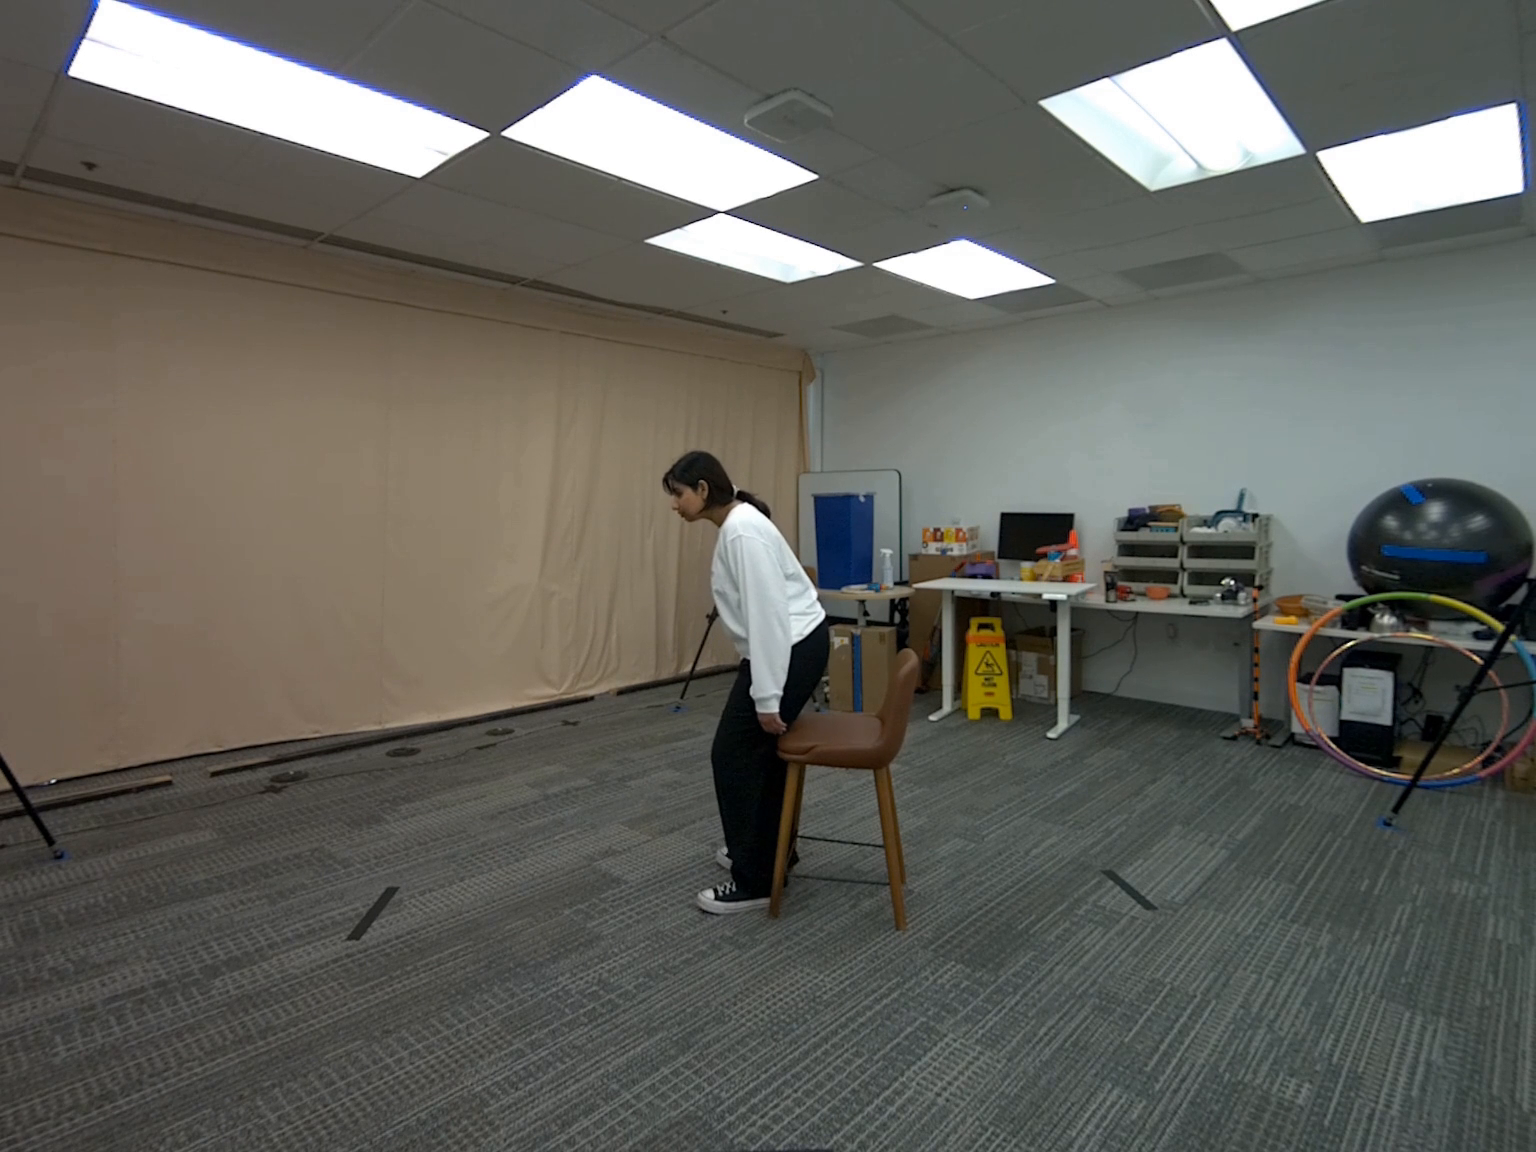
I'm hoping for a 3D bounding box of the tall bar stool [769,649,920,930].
[{"bbox_3d":[0.277,0.710,2.954,0.474,0.888,0.451,3,3,11],"label":"tall bar stool"}]
